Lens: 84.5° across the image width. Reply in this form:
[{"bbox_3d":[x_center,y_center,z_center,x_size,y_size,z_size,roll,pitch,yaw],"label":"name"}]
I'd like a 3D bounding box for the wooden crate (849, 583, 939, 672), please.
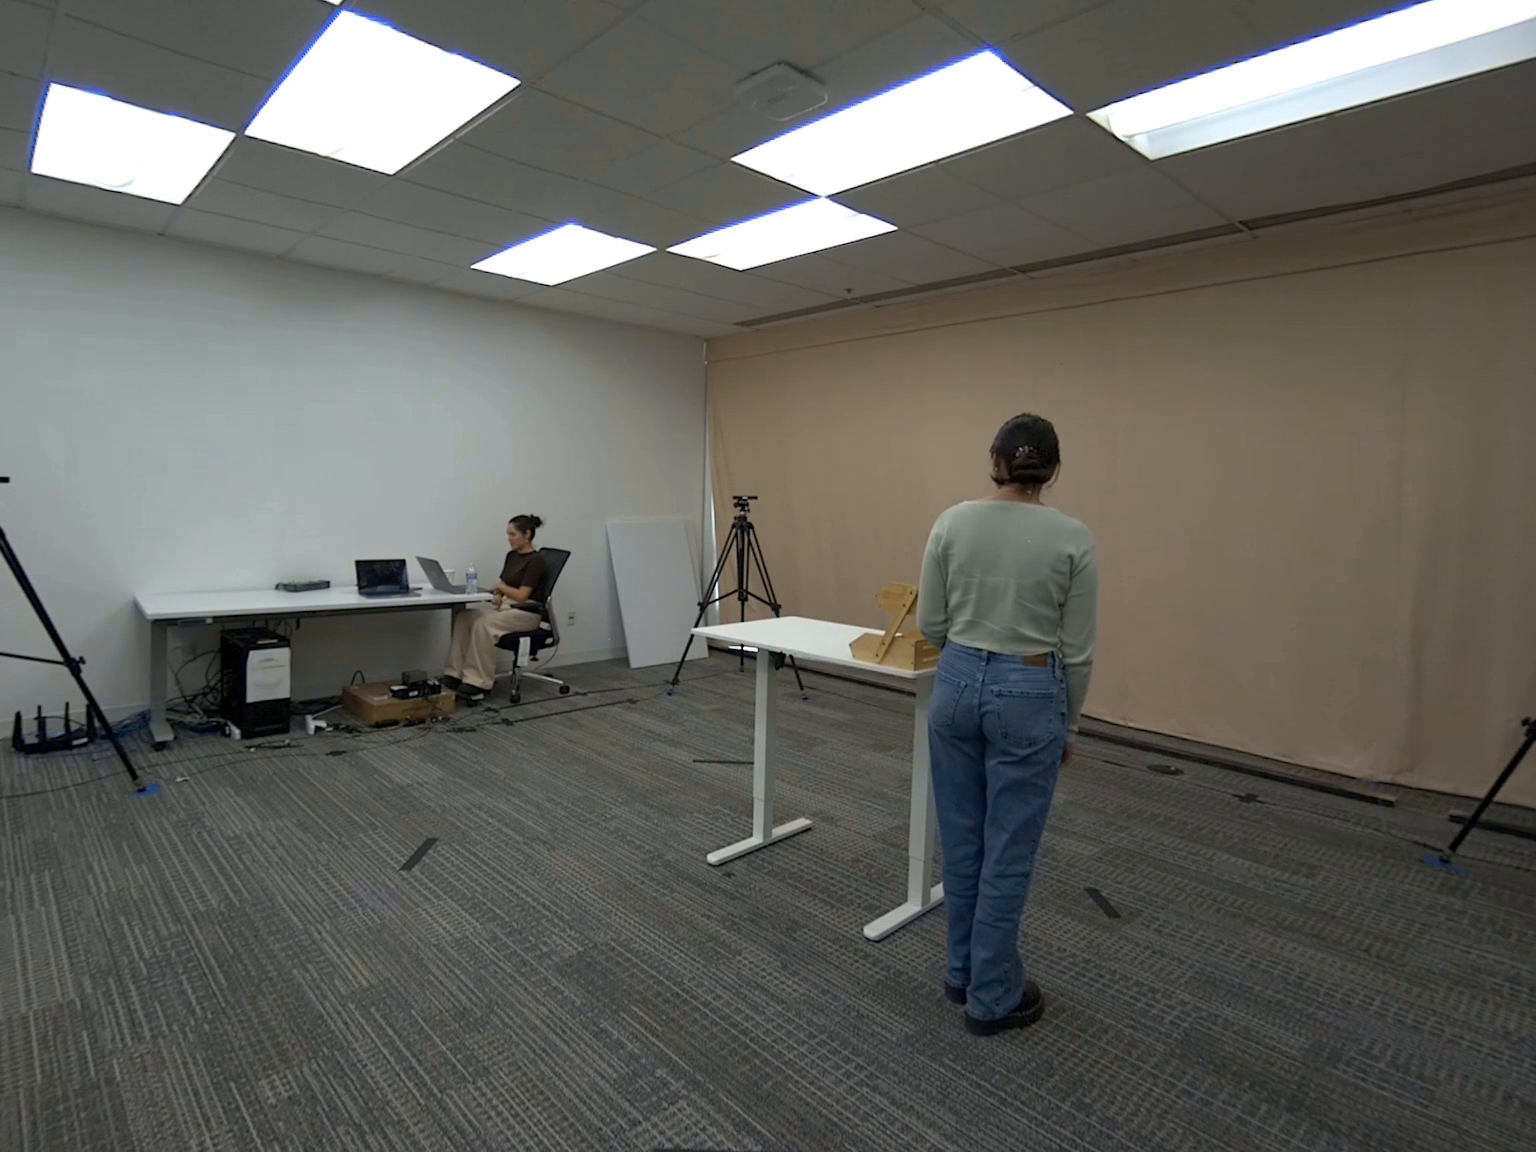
[{"bbox_3d":[0.470,0.141,2.717,0.310,0.272,0.317,7,7,44],"label":"wooden crate"}]
